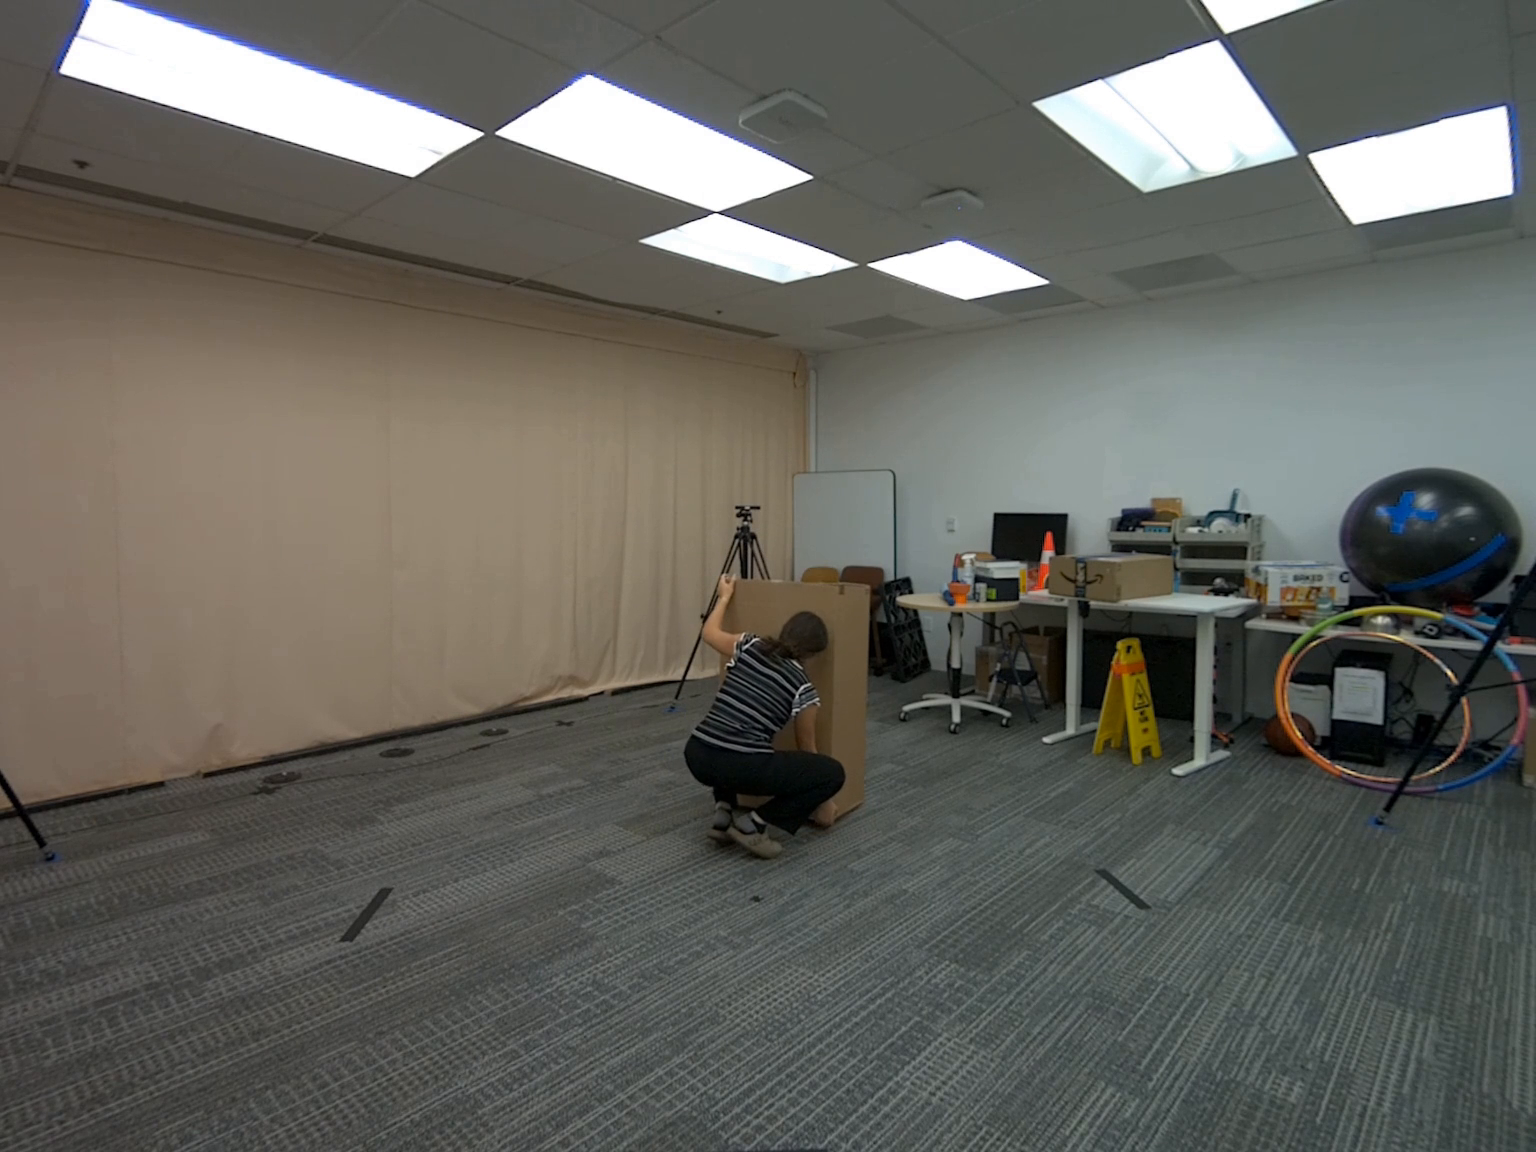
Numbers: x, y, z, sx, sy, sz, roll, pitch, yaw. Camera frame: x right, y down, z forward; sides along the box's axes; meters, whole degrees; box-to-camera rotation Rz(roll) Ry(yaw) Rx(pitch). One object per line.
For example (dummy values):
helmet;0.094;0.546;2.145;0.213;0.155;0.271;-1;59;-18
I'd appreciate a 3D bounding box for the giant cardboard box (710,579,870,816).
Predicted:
giant cardboard box;0.124;0.539;3.942;0.593;1.027;0.414;2;-2;28
